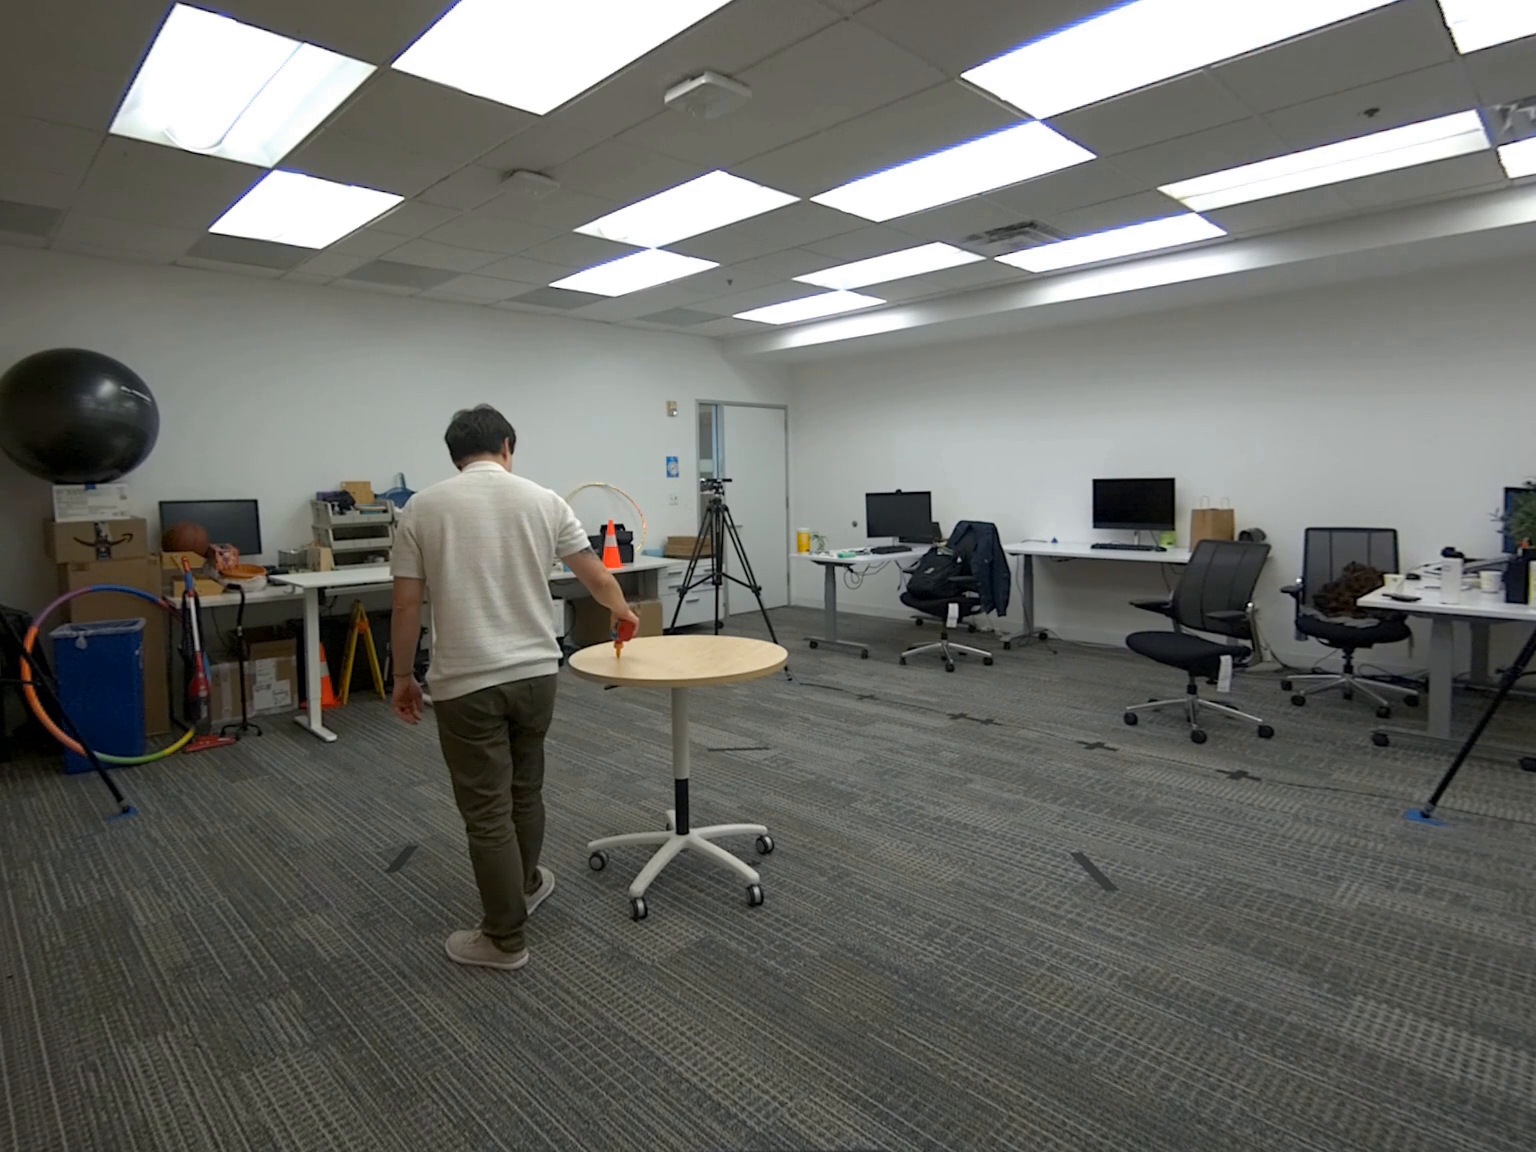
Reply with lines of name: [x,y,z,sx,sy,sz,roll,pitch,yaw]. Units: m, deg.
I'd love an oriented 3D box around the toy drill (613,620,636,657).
toy drill: [-0.502,0.206,2.927,0.060,0.169,0.150,3,8,-20]
